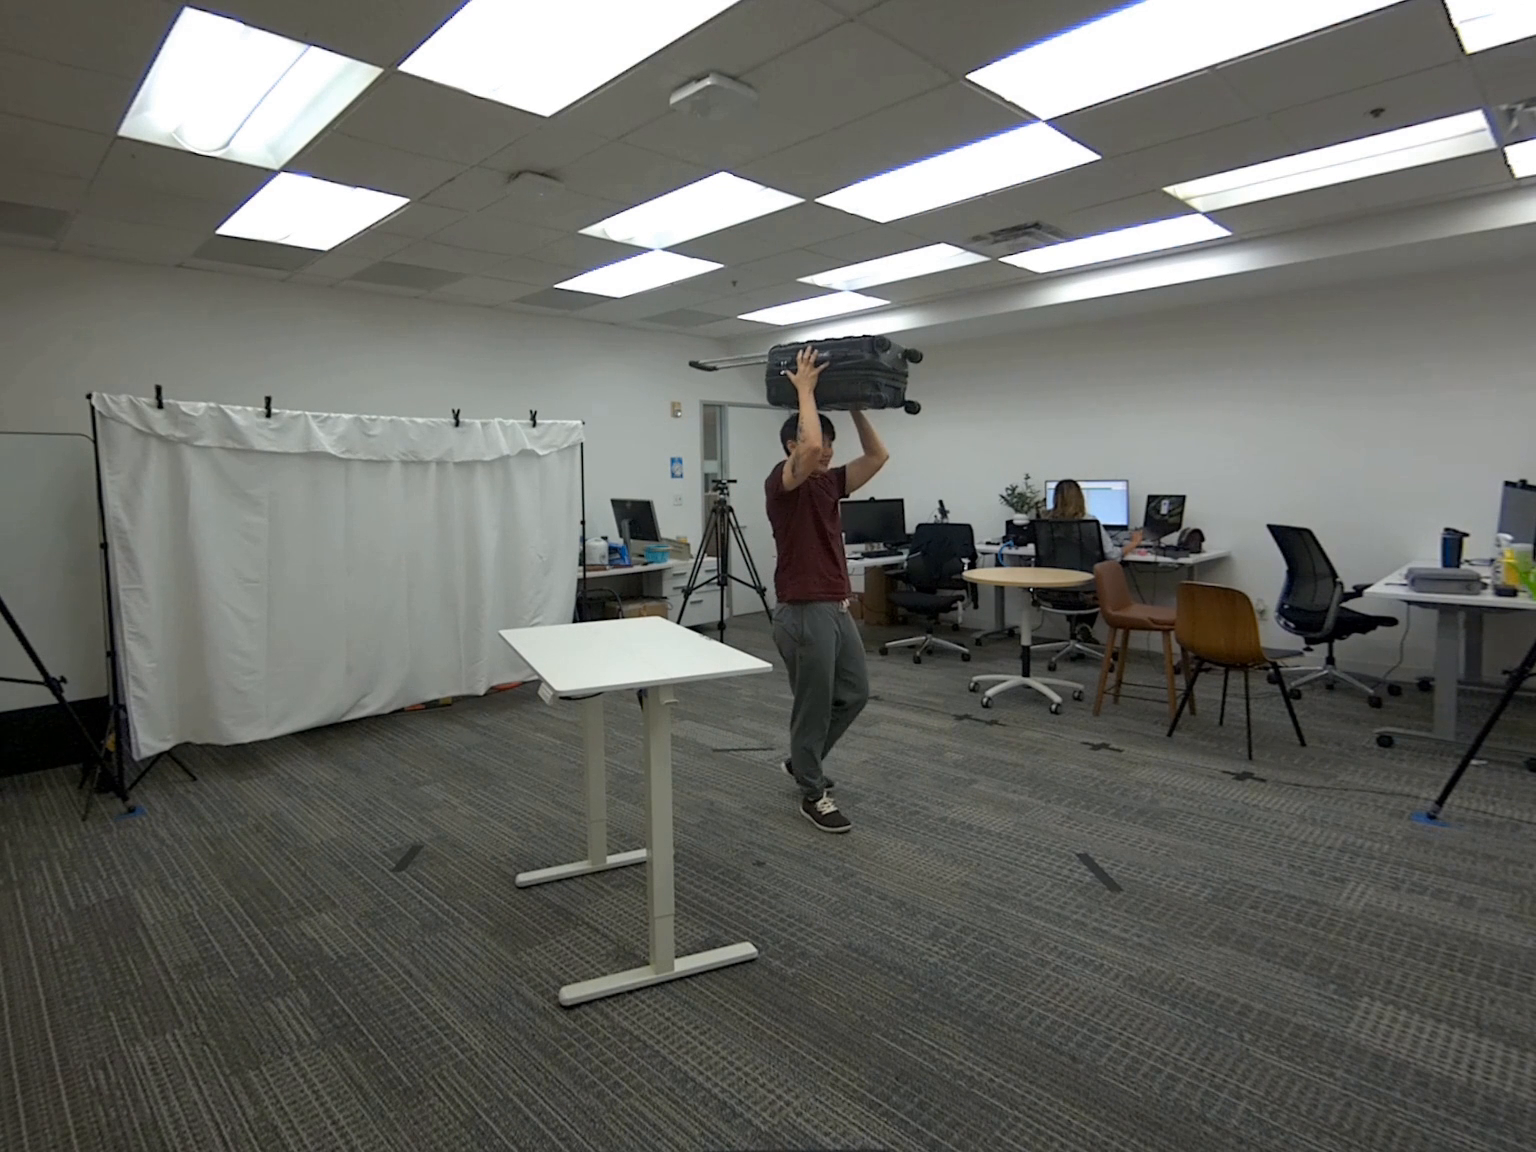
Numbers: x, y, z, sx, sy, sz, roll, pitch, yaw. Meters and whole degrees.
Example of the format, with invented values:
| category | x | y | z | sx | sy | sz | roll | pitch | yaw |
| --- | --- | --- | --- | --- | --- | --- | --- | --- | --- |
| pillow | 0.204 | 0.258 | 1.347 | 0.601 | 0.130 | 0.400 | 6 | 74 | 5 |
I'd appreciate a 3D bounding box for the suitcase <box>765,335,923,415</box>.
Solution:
| category | x | y | z | sx | sy | sz | roll | pitch | yaw |
| --- | --- | --- | --- | --- | --- | --- | --- | --- | --- |
| suitcase | 0.113 | -0.798 | 3.497 | 1.007 | 0.256 | 0.374 | 5 | 5 | 35 |
